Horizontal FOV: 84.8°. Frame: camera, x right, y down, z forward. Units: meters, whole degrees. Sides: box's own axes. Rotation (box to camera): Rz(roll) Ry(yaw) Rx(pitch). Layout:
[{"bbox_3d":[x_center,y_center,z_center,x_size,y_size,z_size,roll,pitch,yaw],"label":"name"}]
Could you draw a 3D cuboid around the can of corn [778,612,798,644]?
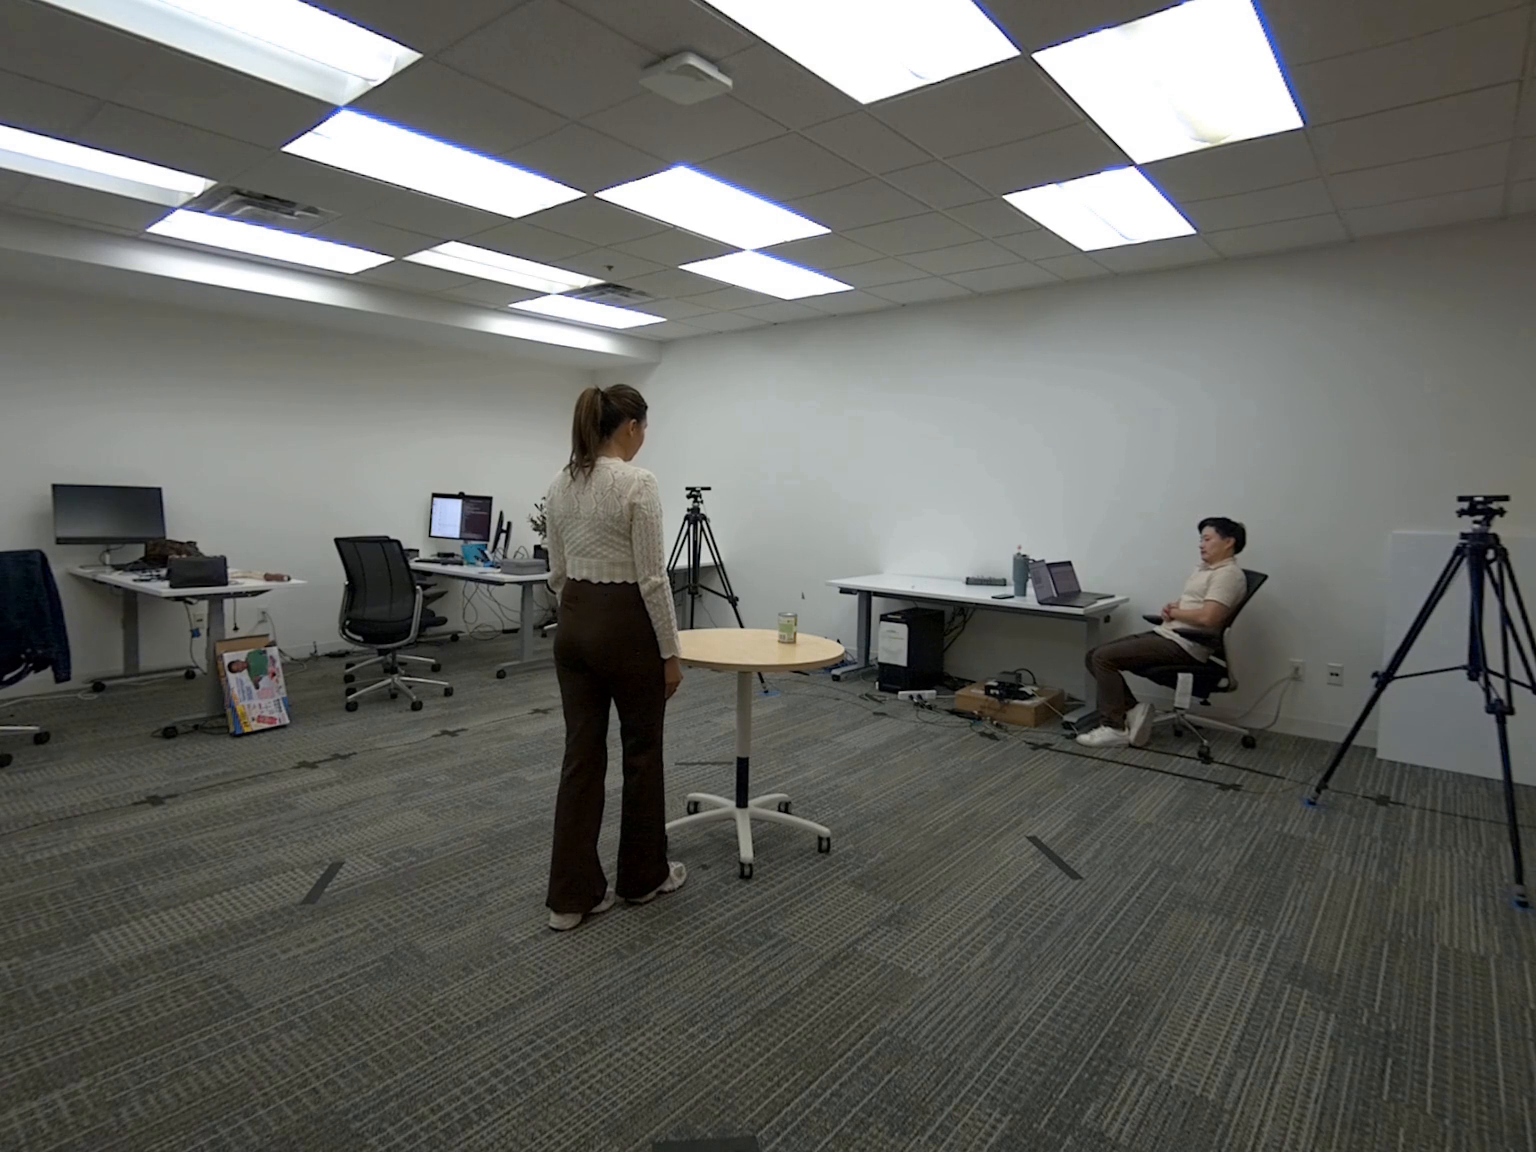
[{"bbox_3d":[0.069,0.206,3.394,0.074,0.111,0.074,1,2,-2],"label":"can of corn"}]
